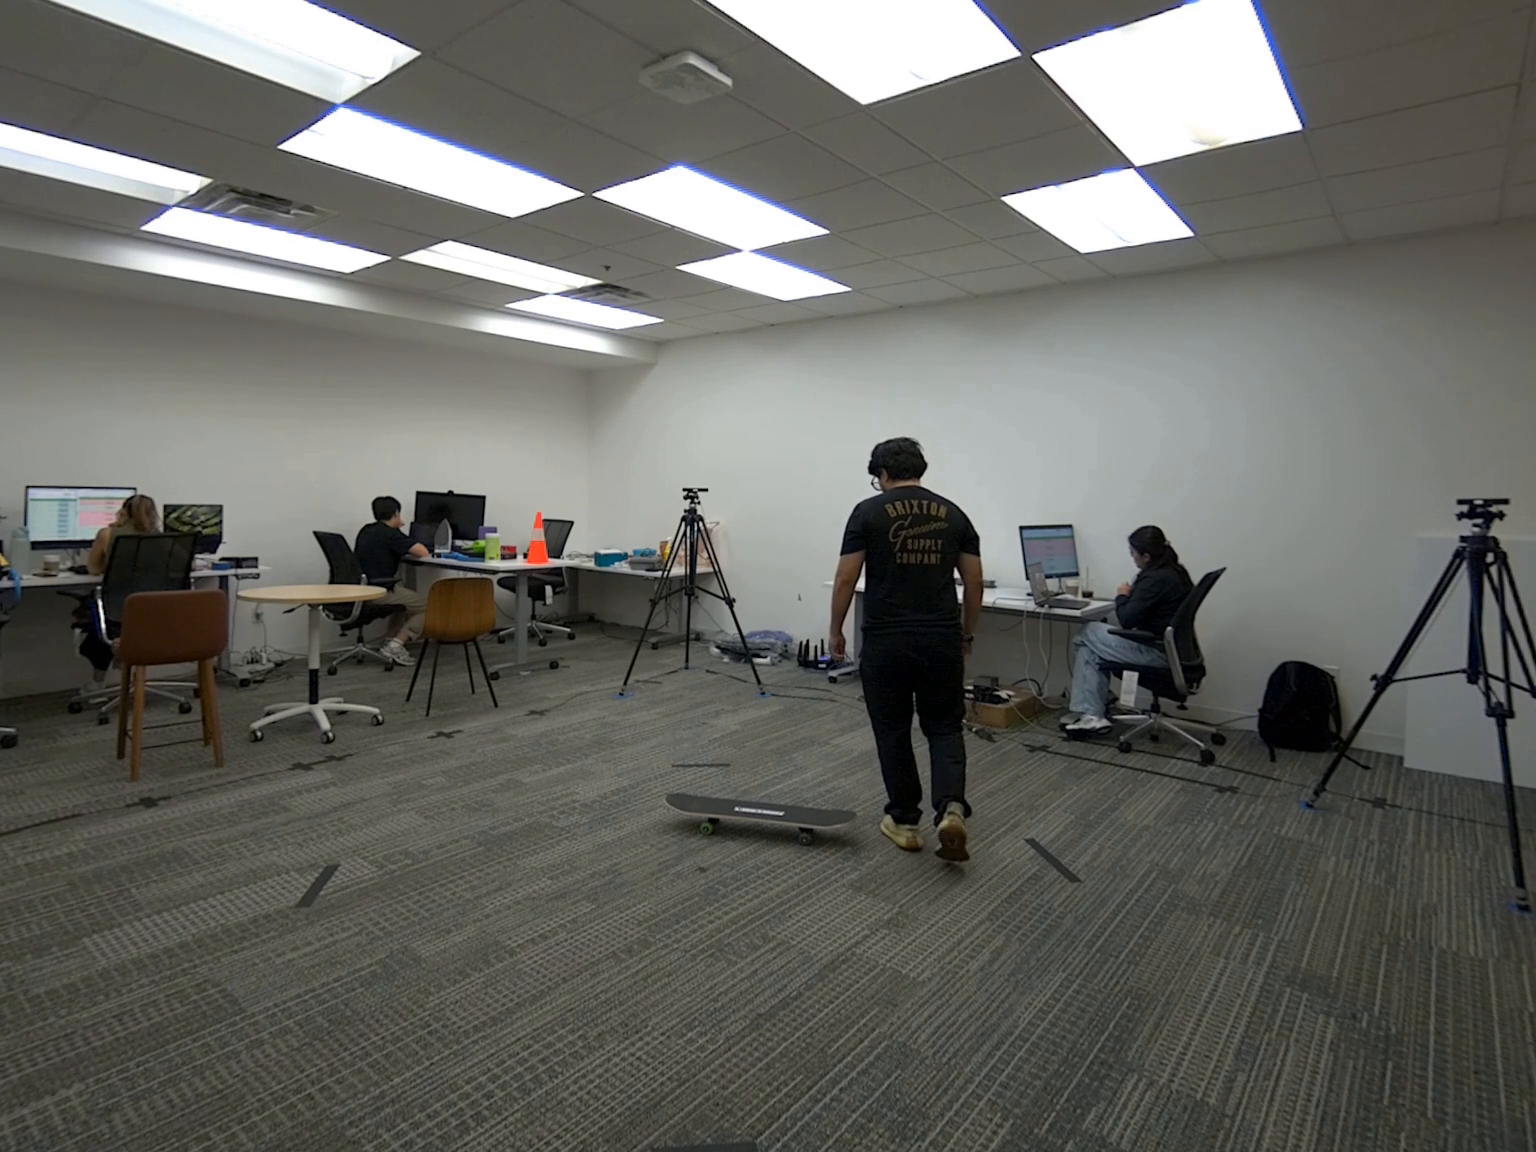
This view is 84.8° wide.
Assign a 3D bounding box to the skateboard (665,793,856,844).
[{"bbox_3d":[-0.052,0.979,3.462,0.795,0.110,0.192,3,5,11],"label":"skateboard"}]
